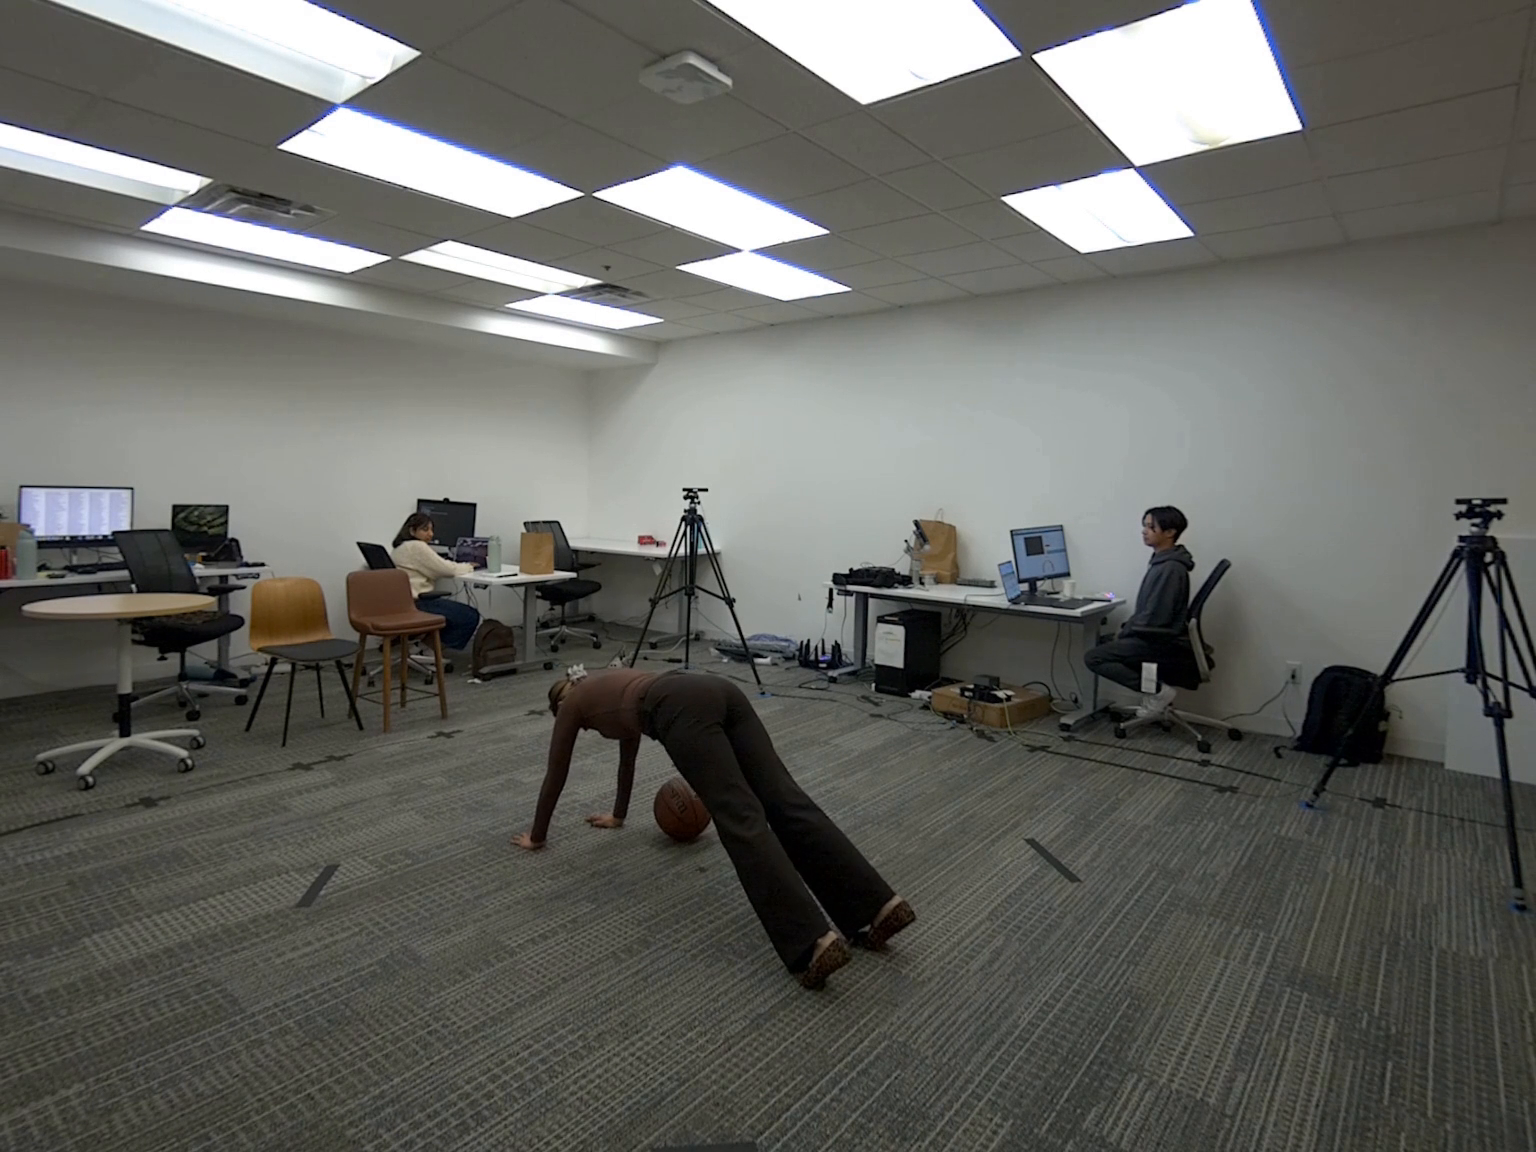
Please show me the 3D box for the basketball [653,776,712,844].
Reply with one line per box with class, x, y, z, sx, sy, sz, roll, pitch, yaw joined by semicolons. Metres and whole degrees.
basketball;-0.344;0.923;3.394;0.236;0.235;0.237;1;4;-2
